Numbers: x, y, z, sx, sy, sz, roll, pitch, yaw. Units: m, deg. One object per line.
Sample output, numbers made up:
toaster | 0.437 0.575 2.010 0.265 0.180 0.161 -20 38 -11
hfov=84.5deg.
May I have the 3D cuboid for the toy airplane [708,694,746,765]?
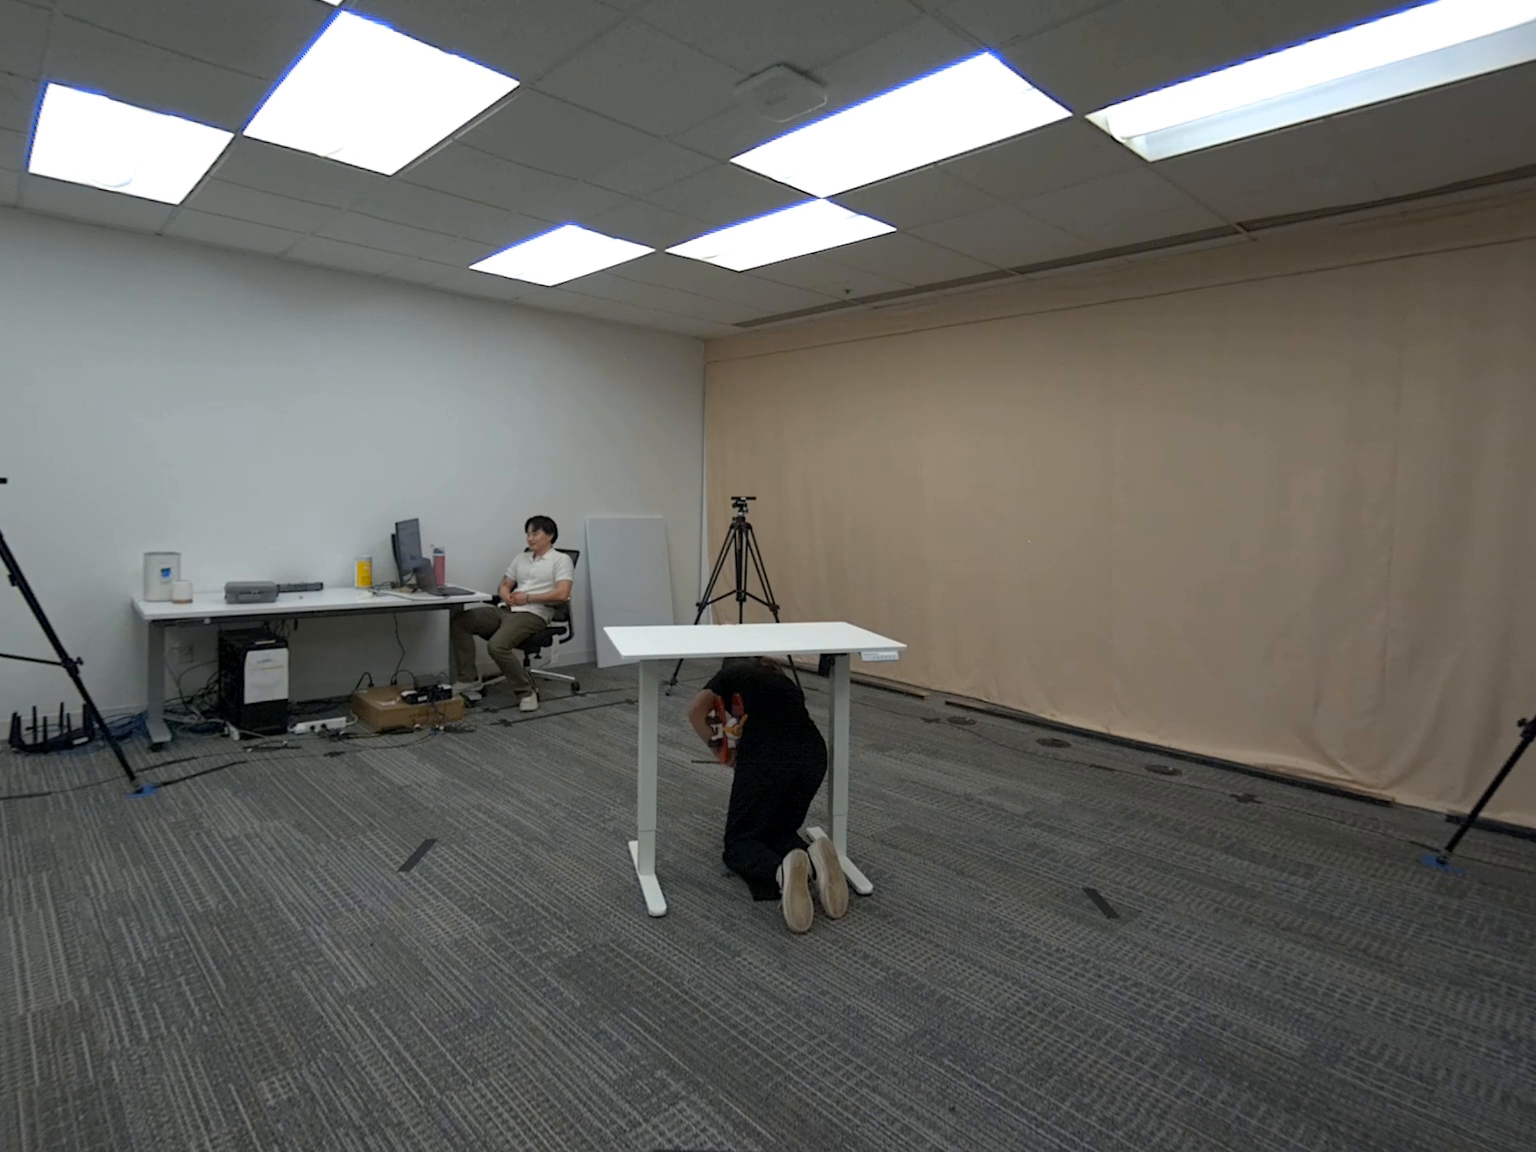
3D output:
toy airplane | -0.187 0.570 3.291 0.155 0.247 0.265 -4 24 -13
